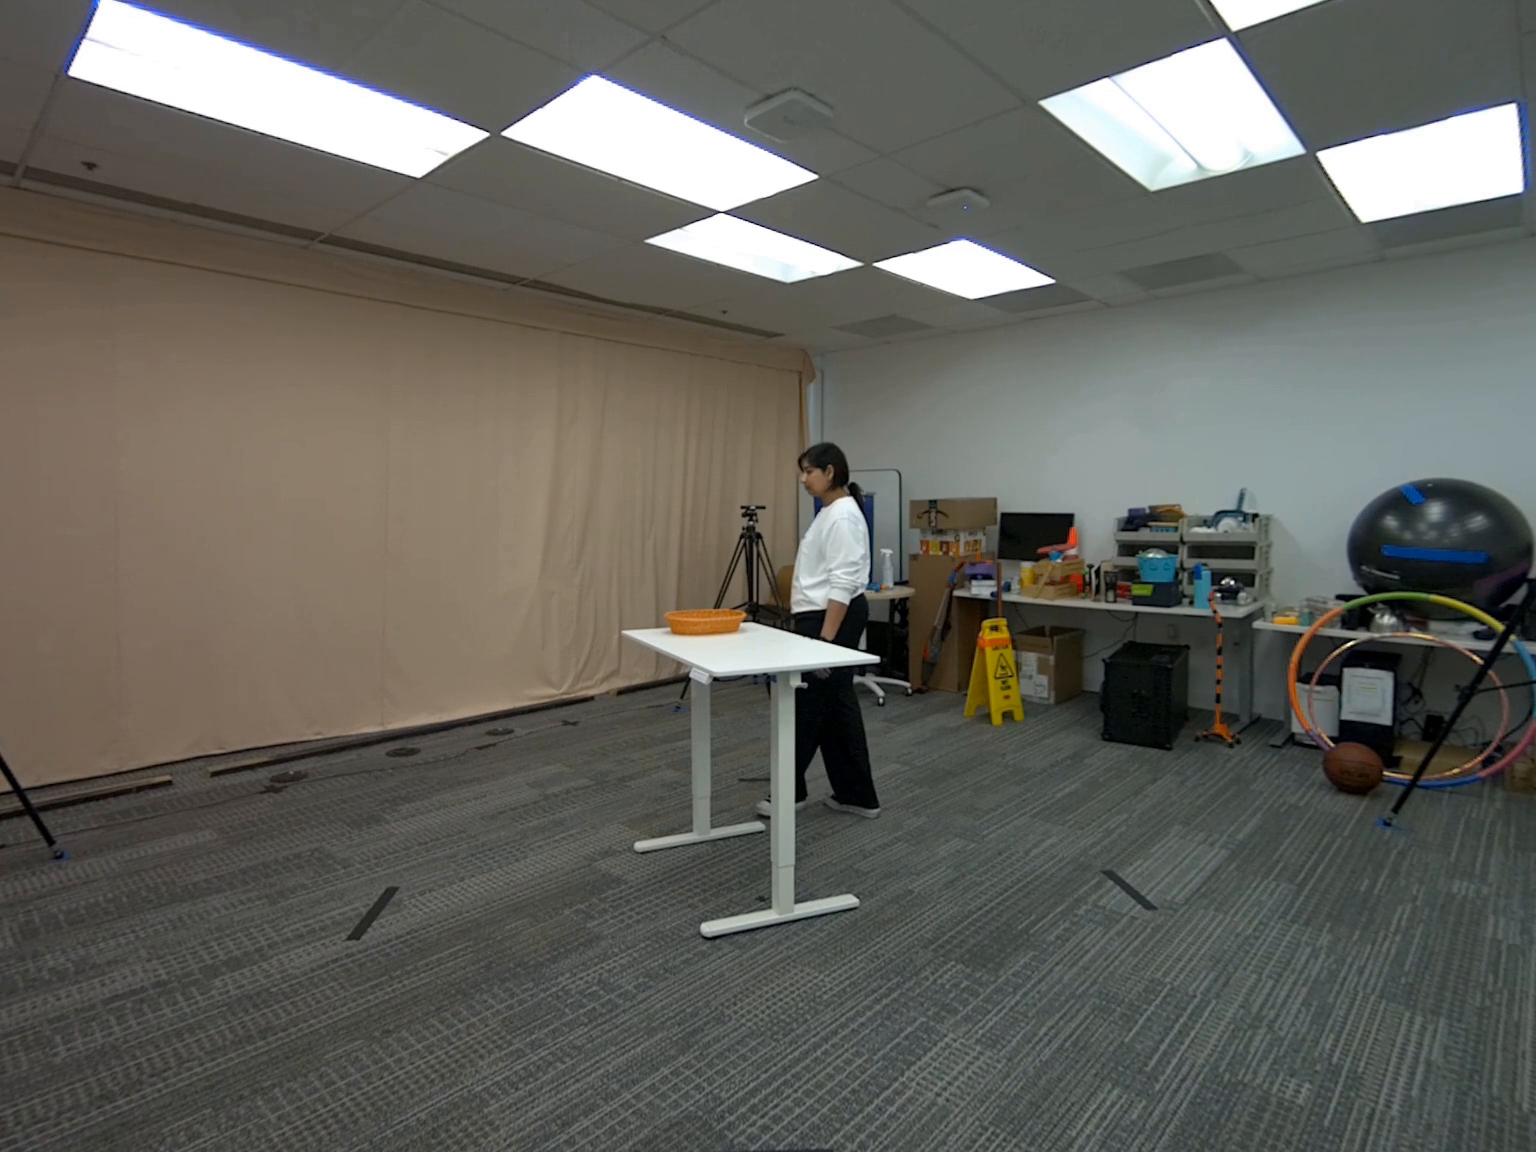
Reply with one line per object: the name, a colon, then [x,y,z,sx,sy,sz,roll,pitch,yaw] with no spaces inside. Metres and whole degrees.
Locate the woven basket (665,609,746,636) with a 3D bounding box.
woven basket: [-0.255,0.196,3.452,0.344,0.073,0.258,-1,7,-18]
